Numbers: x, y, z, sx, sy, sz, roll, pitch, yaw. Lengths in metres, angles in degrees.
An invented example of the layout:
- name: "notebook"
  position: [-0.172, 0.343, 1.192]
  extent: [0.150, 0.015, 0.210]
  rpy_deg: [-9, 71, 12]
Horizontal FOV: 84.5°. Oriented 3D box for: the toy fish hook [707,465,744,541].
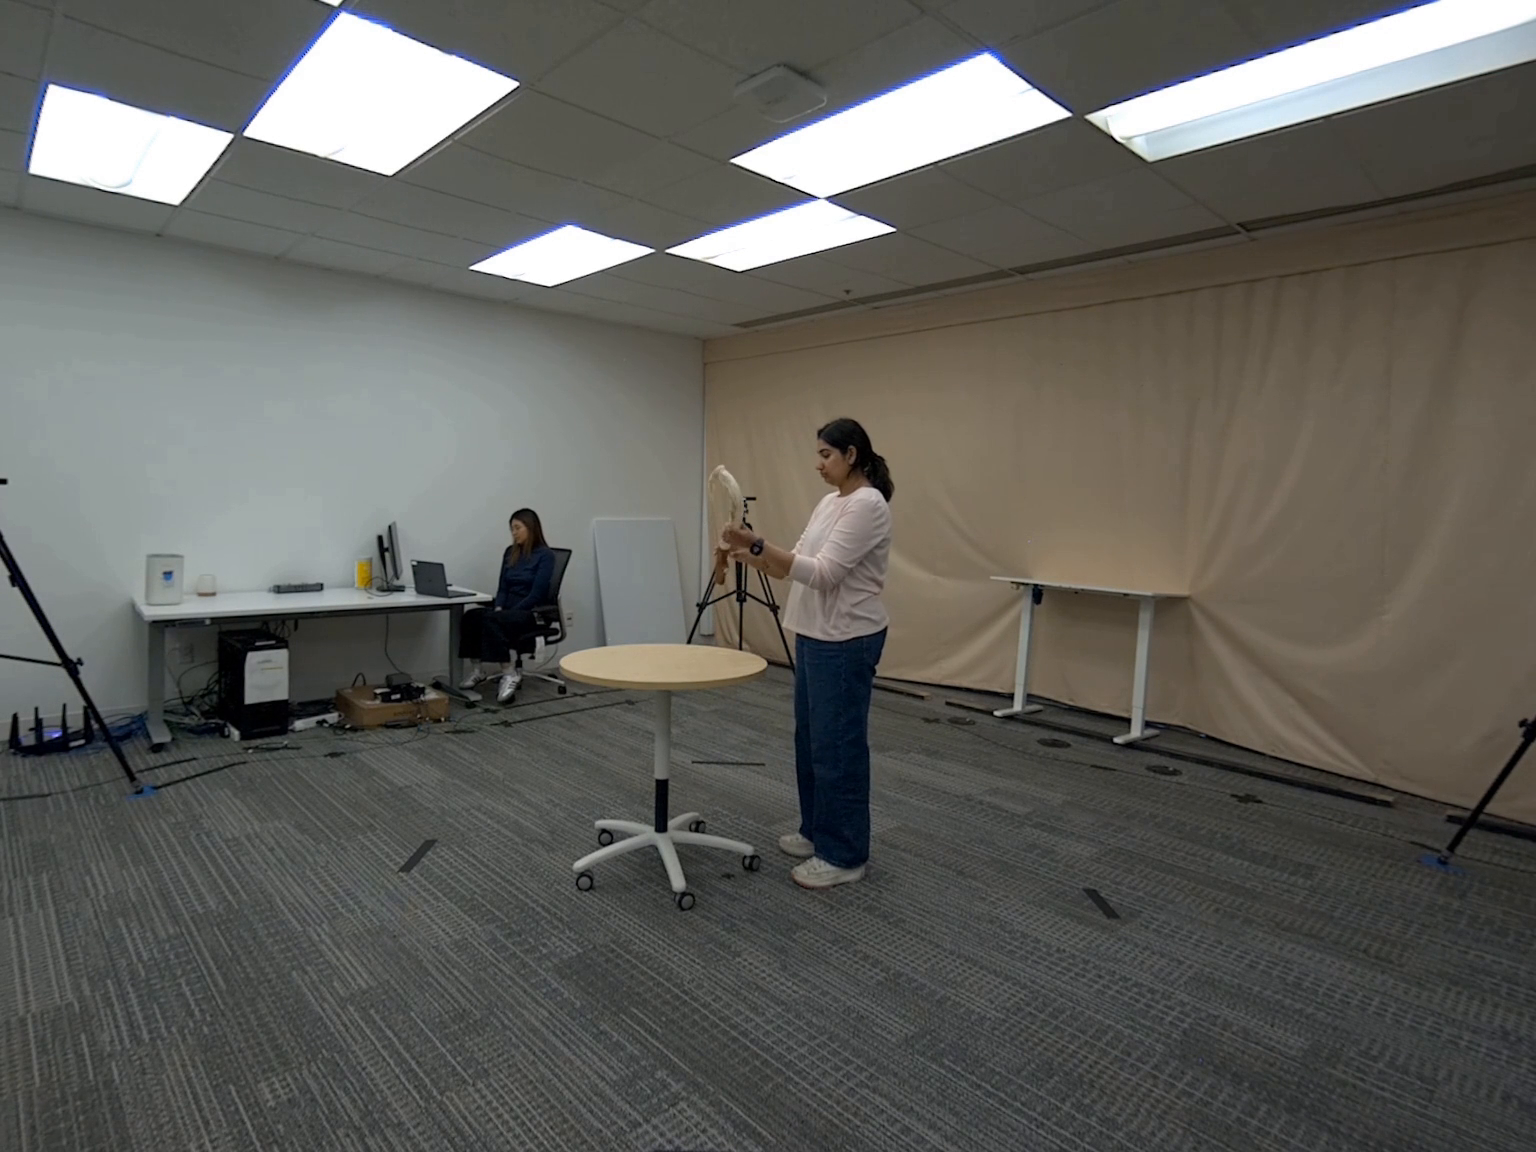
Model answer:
- name: "toy fish hook"
  position: [-0.171, -0.167, 2.968]
  extent: [0.048, 0.497, 0.231]
  rpy_deg: [-13, 51, -21]
